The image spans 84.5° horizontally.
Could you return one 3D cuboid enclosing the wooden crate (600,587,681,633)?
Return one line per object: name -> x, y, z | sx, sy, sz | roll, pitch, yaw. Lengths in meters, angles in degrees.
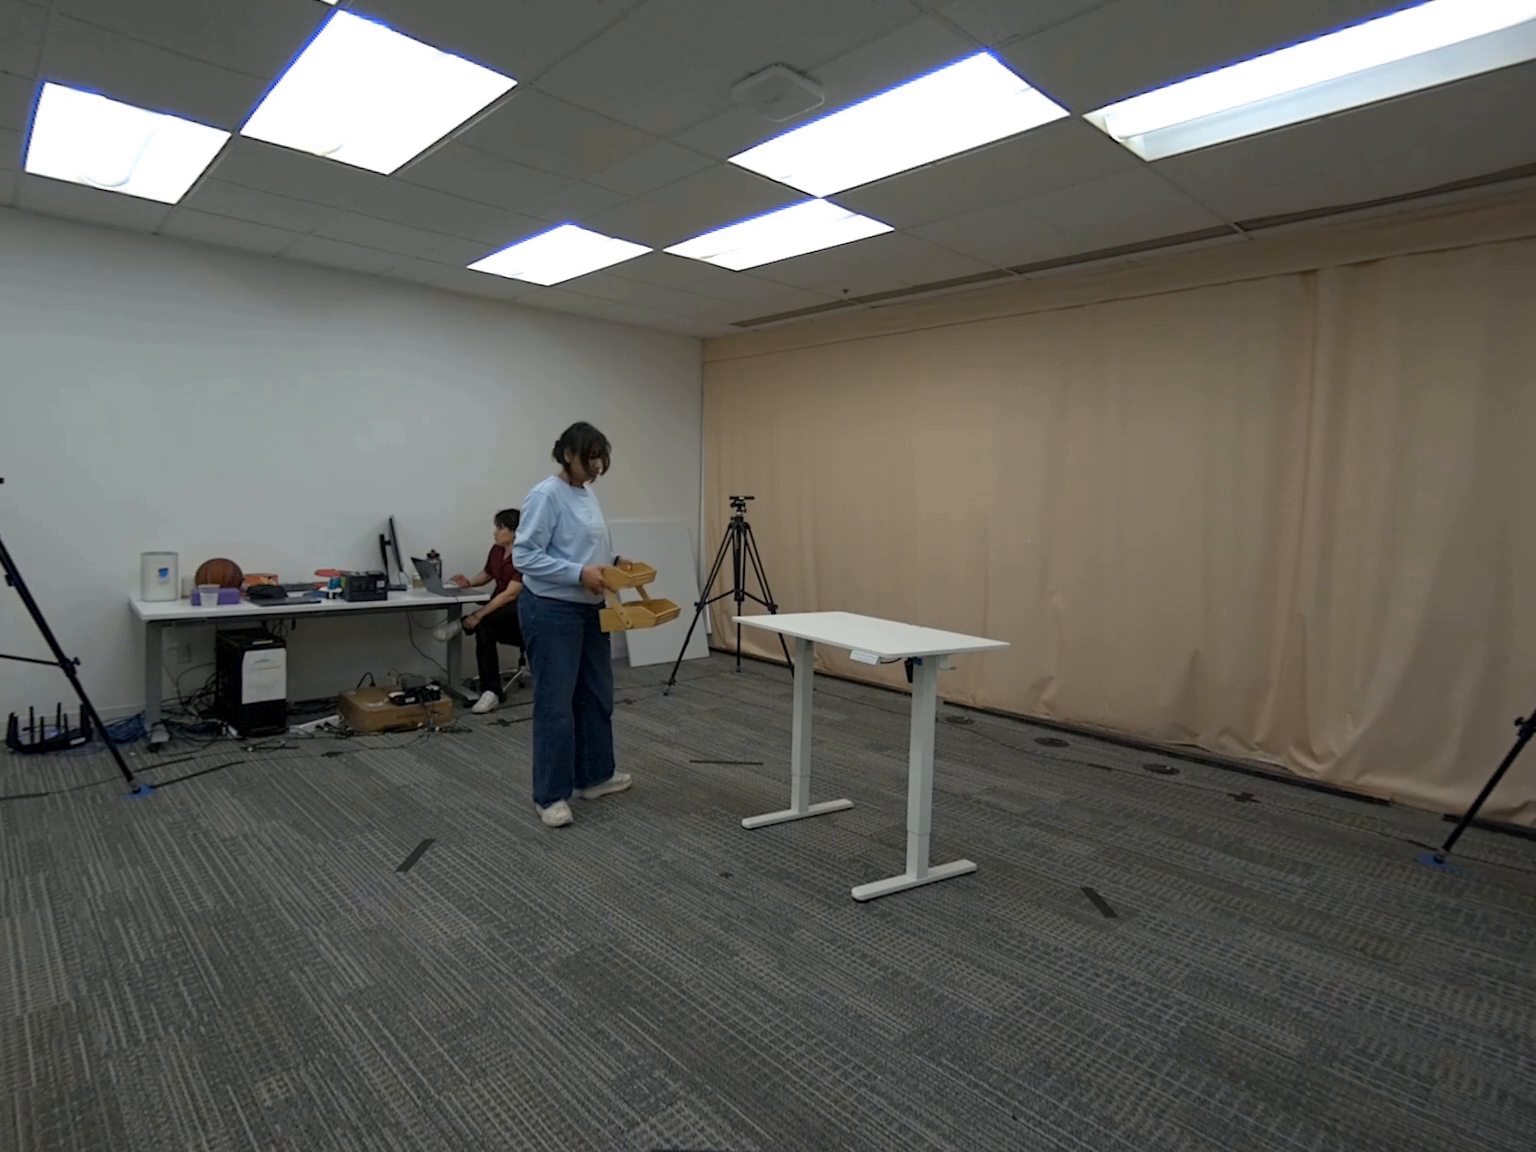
wooden crate -> -0.598, 0.076, 3.617 | 0.305, 0.273, 0.321 | -6, 1, 16
